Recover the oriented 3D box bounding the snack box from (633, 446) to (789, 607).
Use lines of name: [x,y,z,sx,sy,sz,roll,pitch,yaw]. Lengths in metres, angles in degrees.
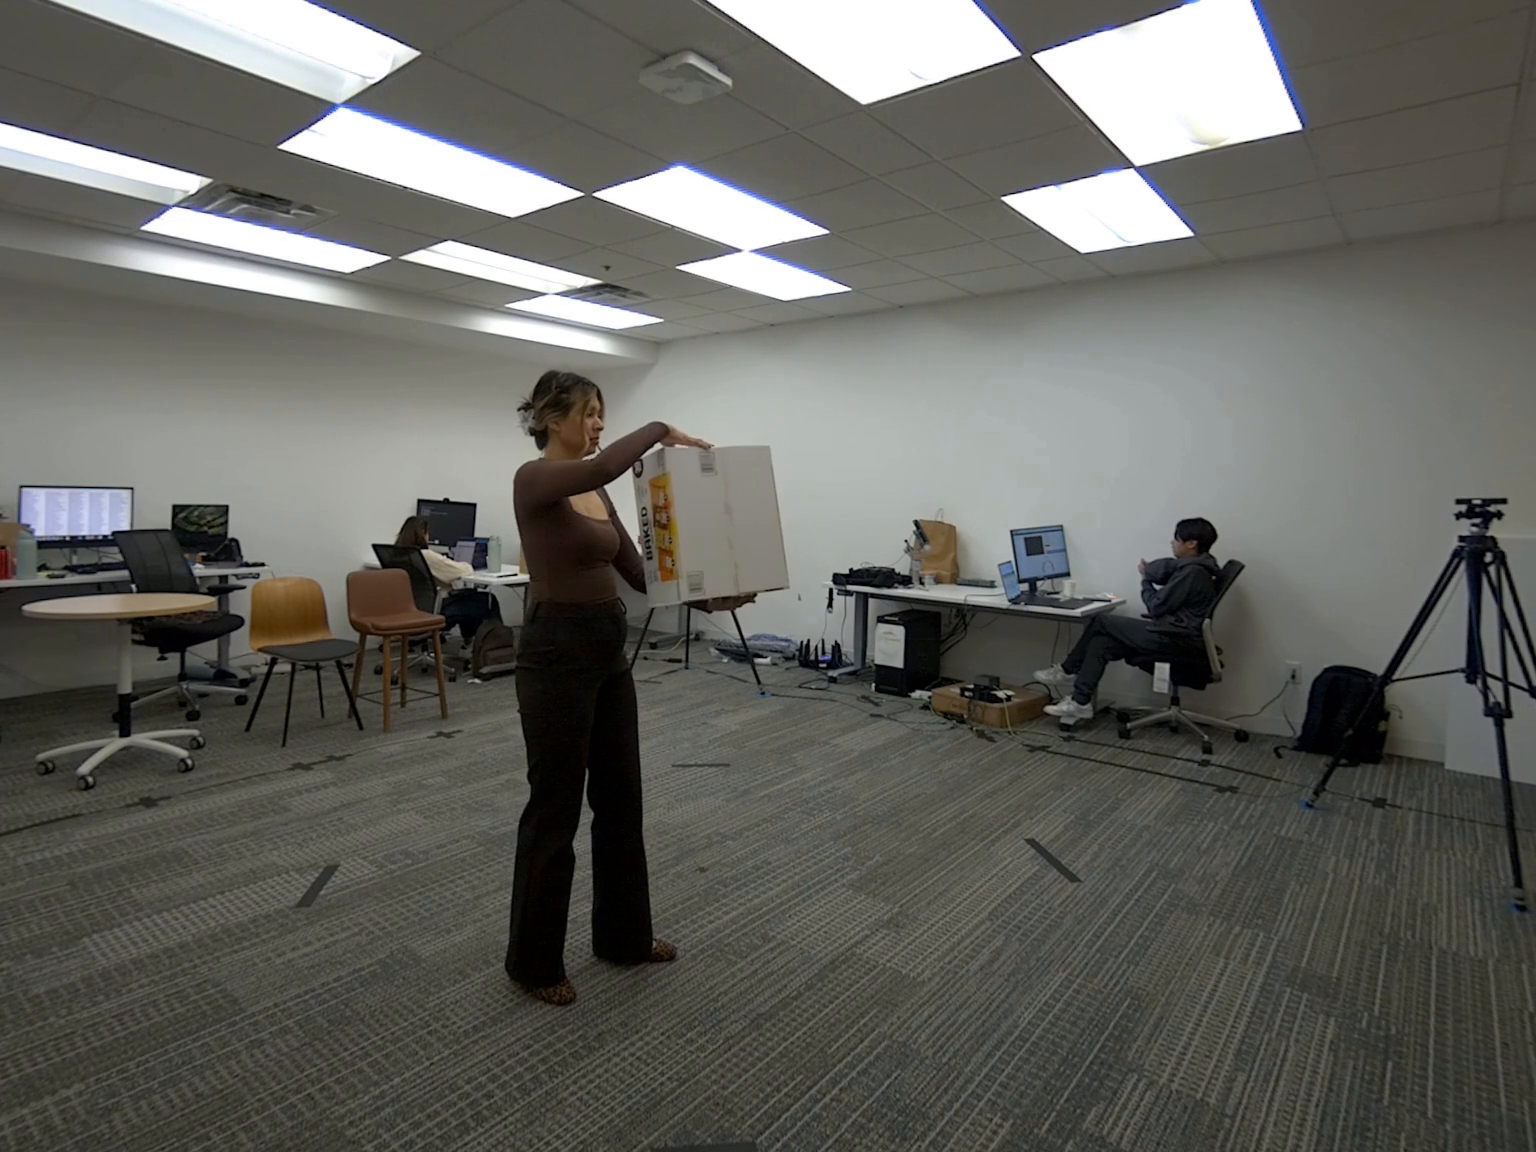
snack box: [-0.164,-0.141,2.329,0.331,0.407,0.210,-4,-6,-32]
